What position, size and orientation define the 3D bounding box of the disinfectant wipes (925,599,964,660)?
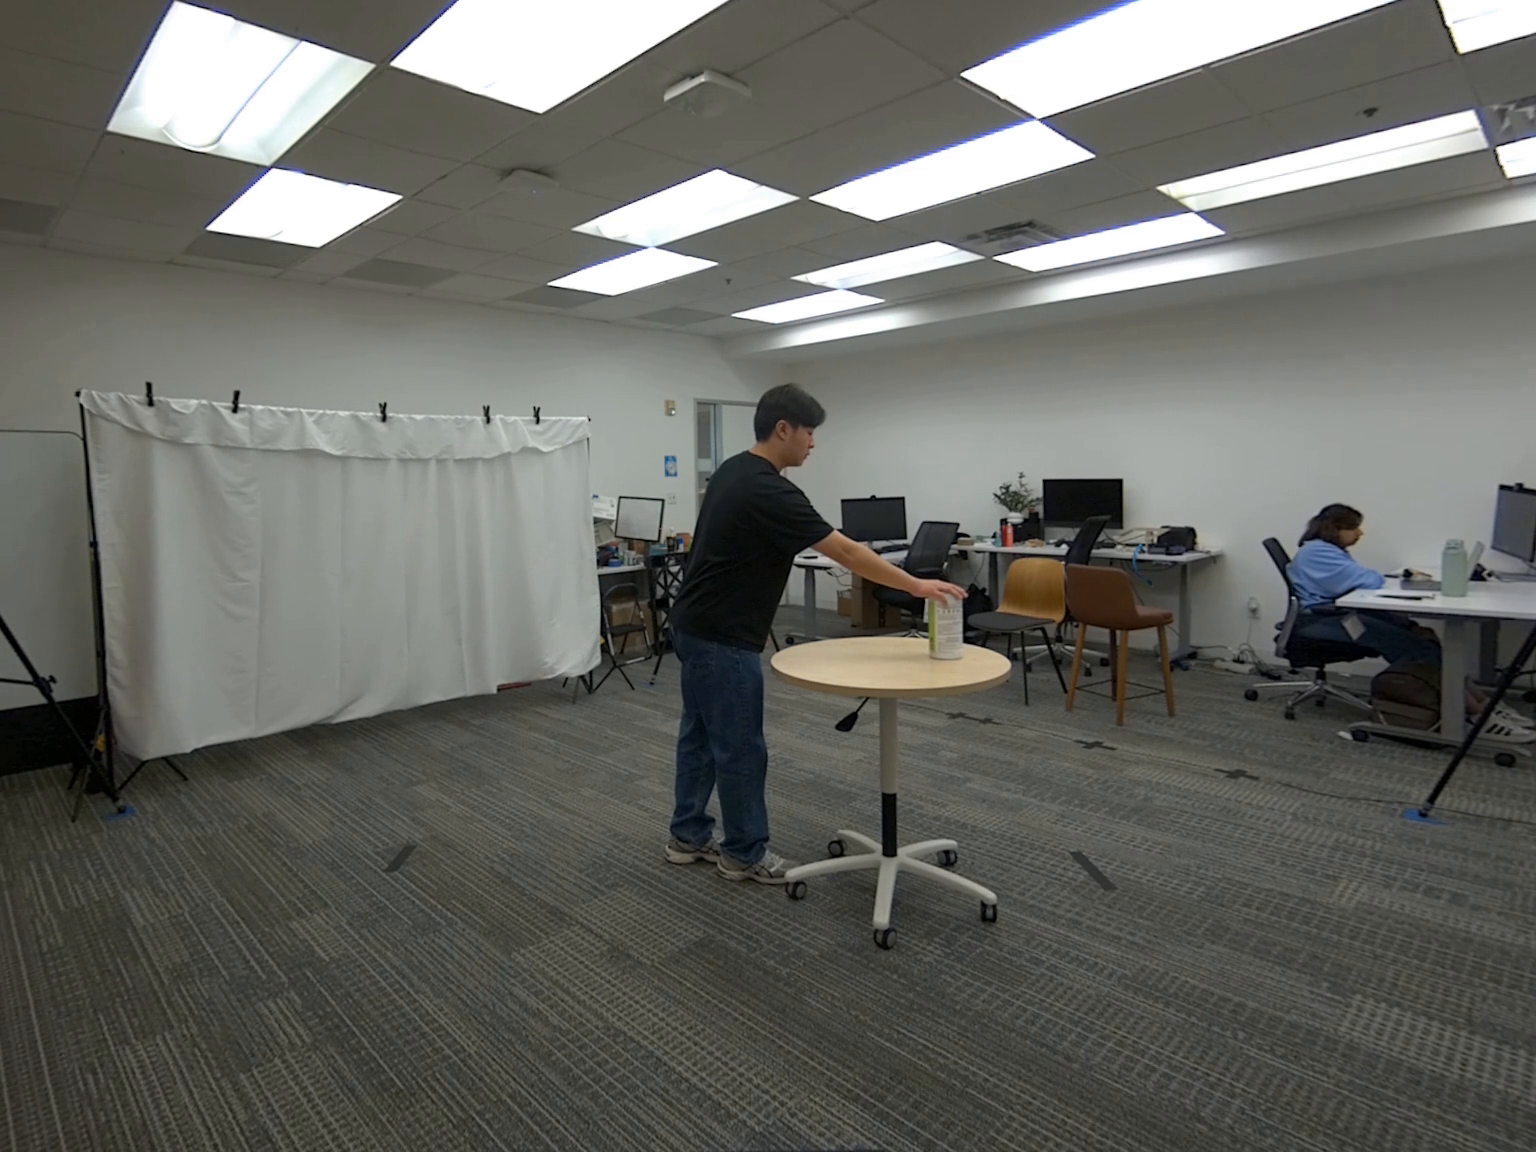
[{"bbox_3d":[0.587,0.161,2.806,0.118,0.217,0.118,-2,4,-1],"label":"disinfectant wipes"}]
